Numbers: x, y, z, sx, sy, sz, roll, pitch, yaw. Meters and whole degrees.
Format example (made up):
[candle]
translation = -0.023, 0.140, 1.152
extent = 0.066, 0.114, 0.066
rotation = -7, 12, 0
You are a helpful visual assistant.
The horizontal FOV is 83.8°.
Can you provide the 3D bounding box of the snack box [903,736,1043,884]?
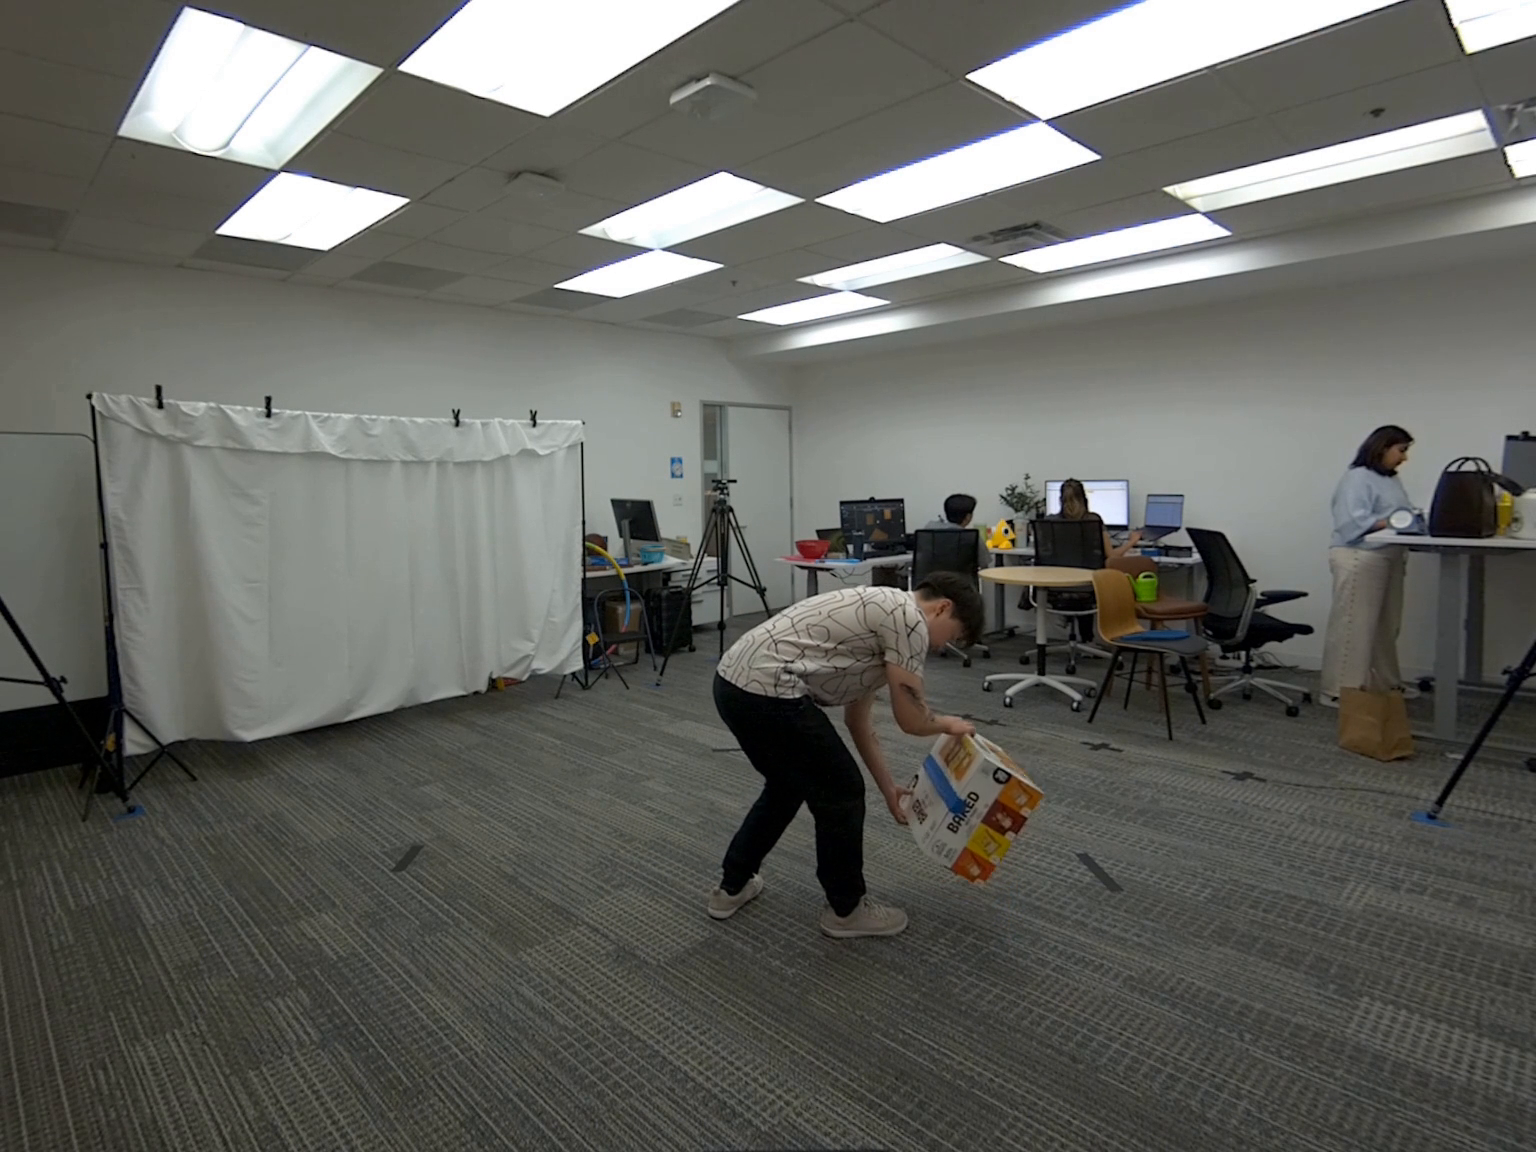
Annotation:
[snack box]
translation = 0.619, 0.695, 2.675
extent = 0.205, 0.340, 0.407
rotation = 31, 5, -4
